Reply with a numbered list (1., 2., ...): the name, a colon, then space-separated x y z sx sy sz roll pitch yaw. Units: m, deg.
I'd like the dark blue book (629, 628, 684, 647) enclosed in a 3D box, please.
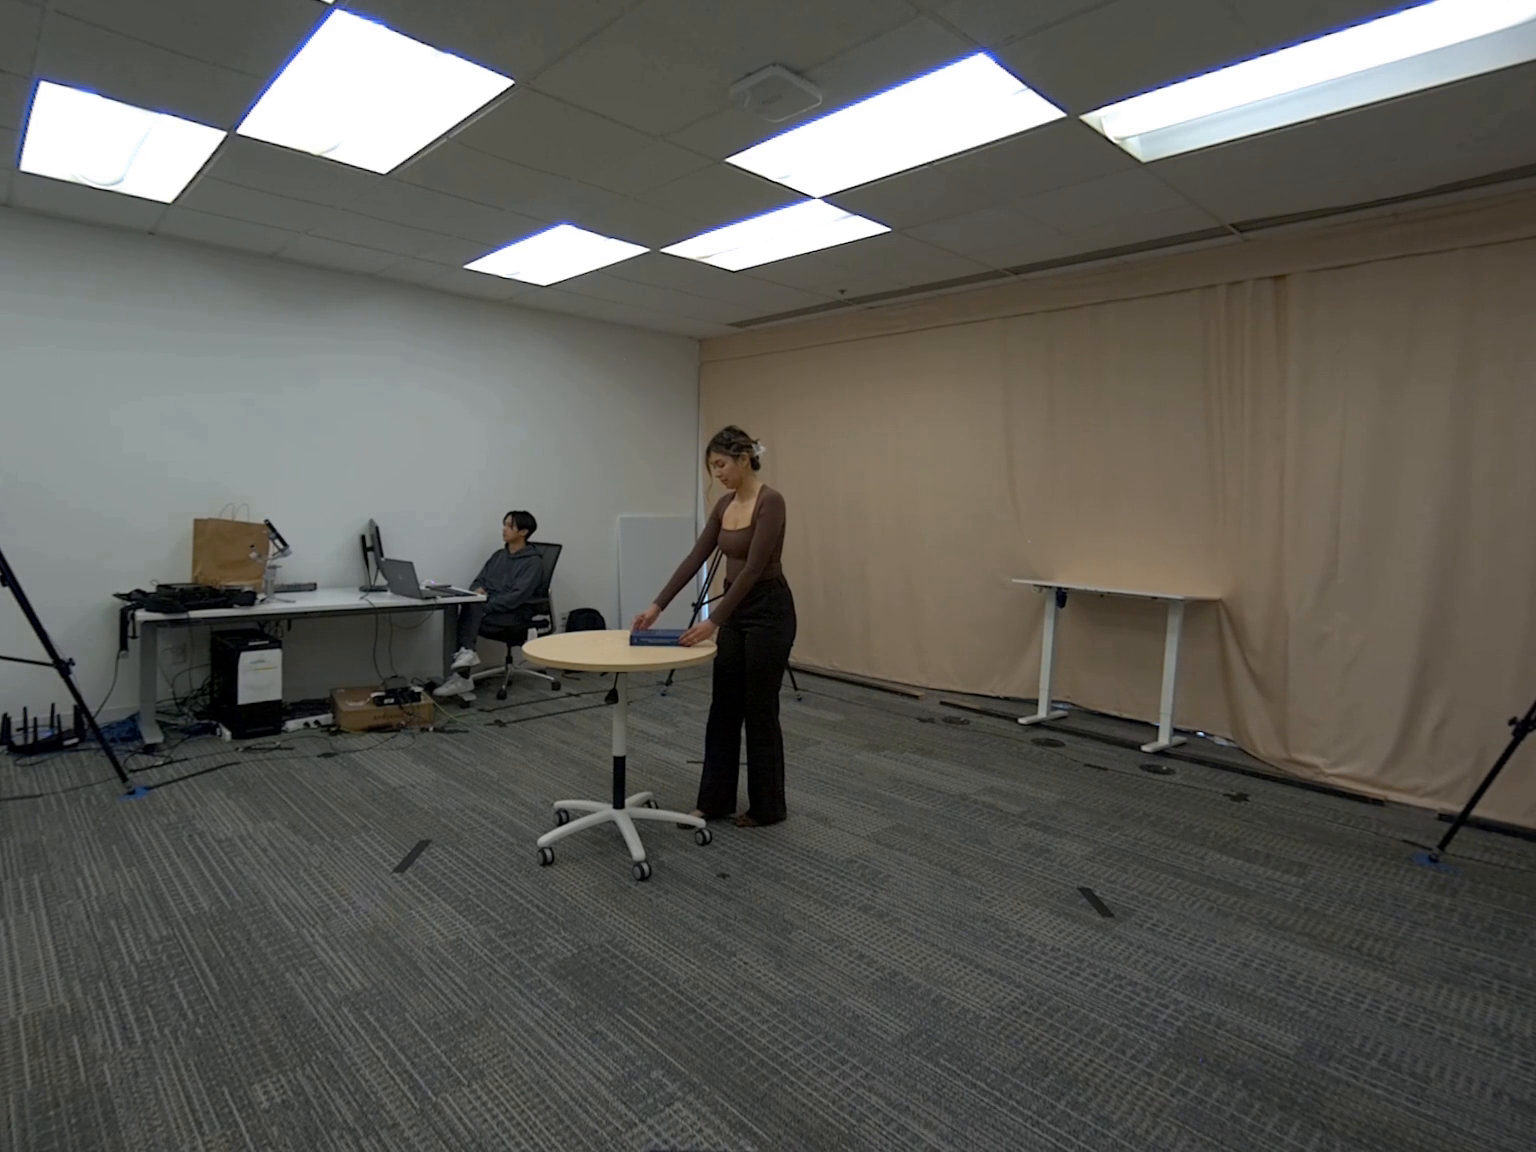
1. dark blue book: -0.440 0.259 3.419 0.244 0.045 0.164 3 5 -3
